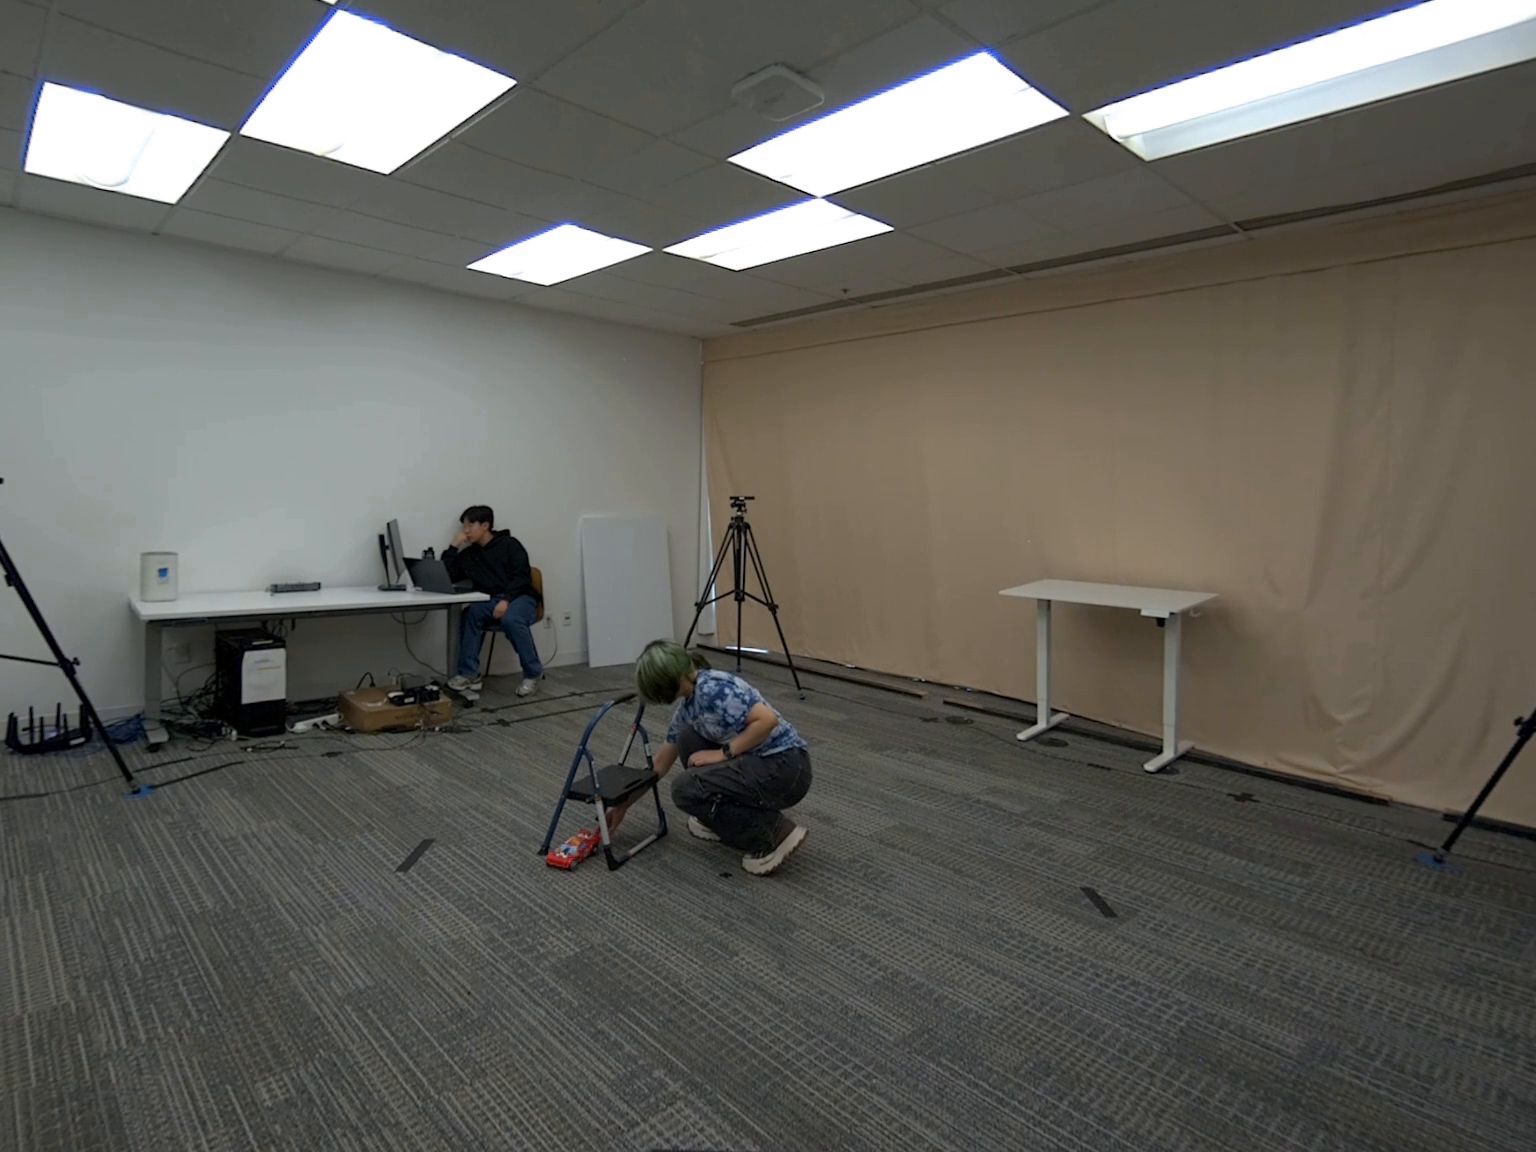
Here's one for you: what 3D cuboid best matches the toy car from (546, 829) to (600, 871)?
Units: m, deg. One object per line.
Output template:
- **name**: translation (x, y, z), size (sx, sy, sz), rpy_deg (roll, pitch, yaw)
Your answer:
- **toy car**: translation (-0.734, 1.039, 3.225), size (0.133, 0.082, 0.252), rpy_deg (3, 15, 23)
